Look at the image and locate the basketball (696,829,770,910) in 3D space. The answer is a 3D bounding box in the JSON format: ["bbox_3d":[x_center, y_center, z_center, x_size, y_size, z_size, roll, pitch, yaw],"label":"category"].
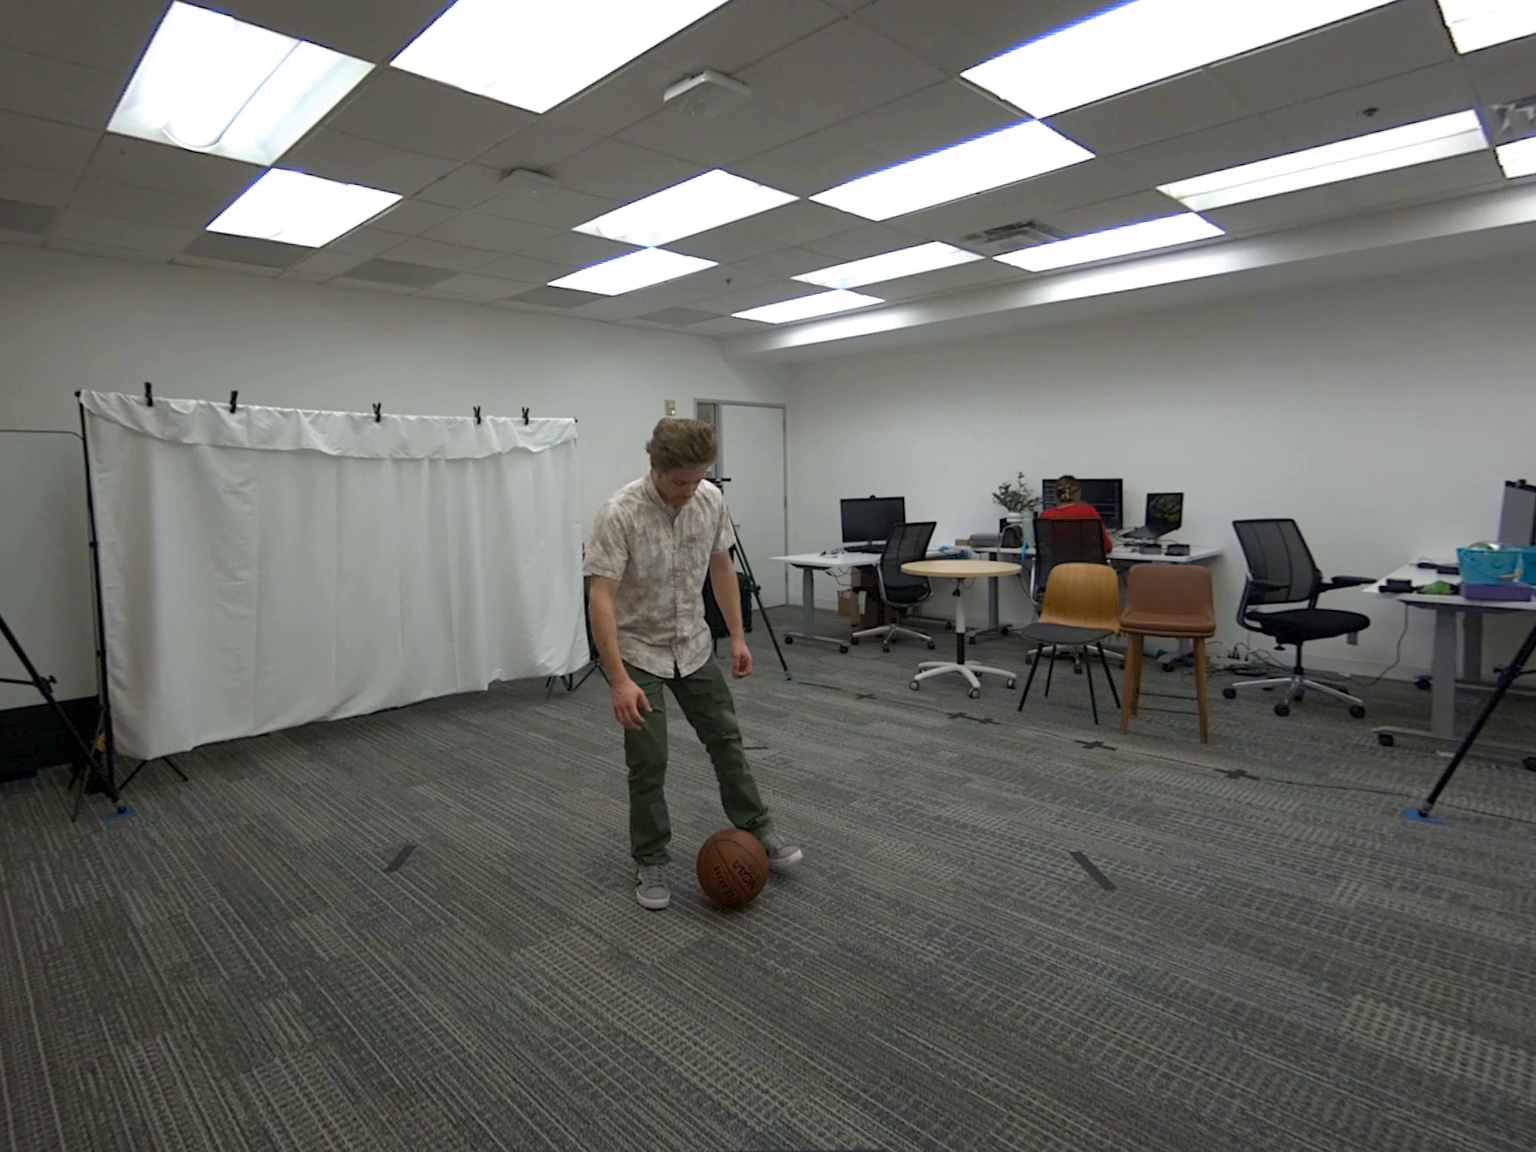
[{"bbox_3d":[-0.110,0.955,2.811,0.236,0.235,0.237,-1,5,-2],"label":"basketball"}]
